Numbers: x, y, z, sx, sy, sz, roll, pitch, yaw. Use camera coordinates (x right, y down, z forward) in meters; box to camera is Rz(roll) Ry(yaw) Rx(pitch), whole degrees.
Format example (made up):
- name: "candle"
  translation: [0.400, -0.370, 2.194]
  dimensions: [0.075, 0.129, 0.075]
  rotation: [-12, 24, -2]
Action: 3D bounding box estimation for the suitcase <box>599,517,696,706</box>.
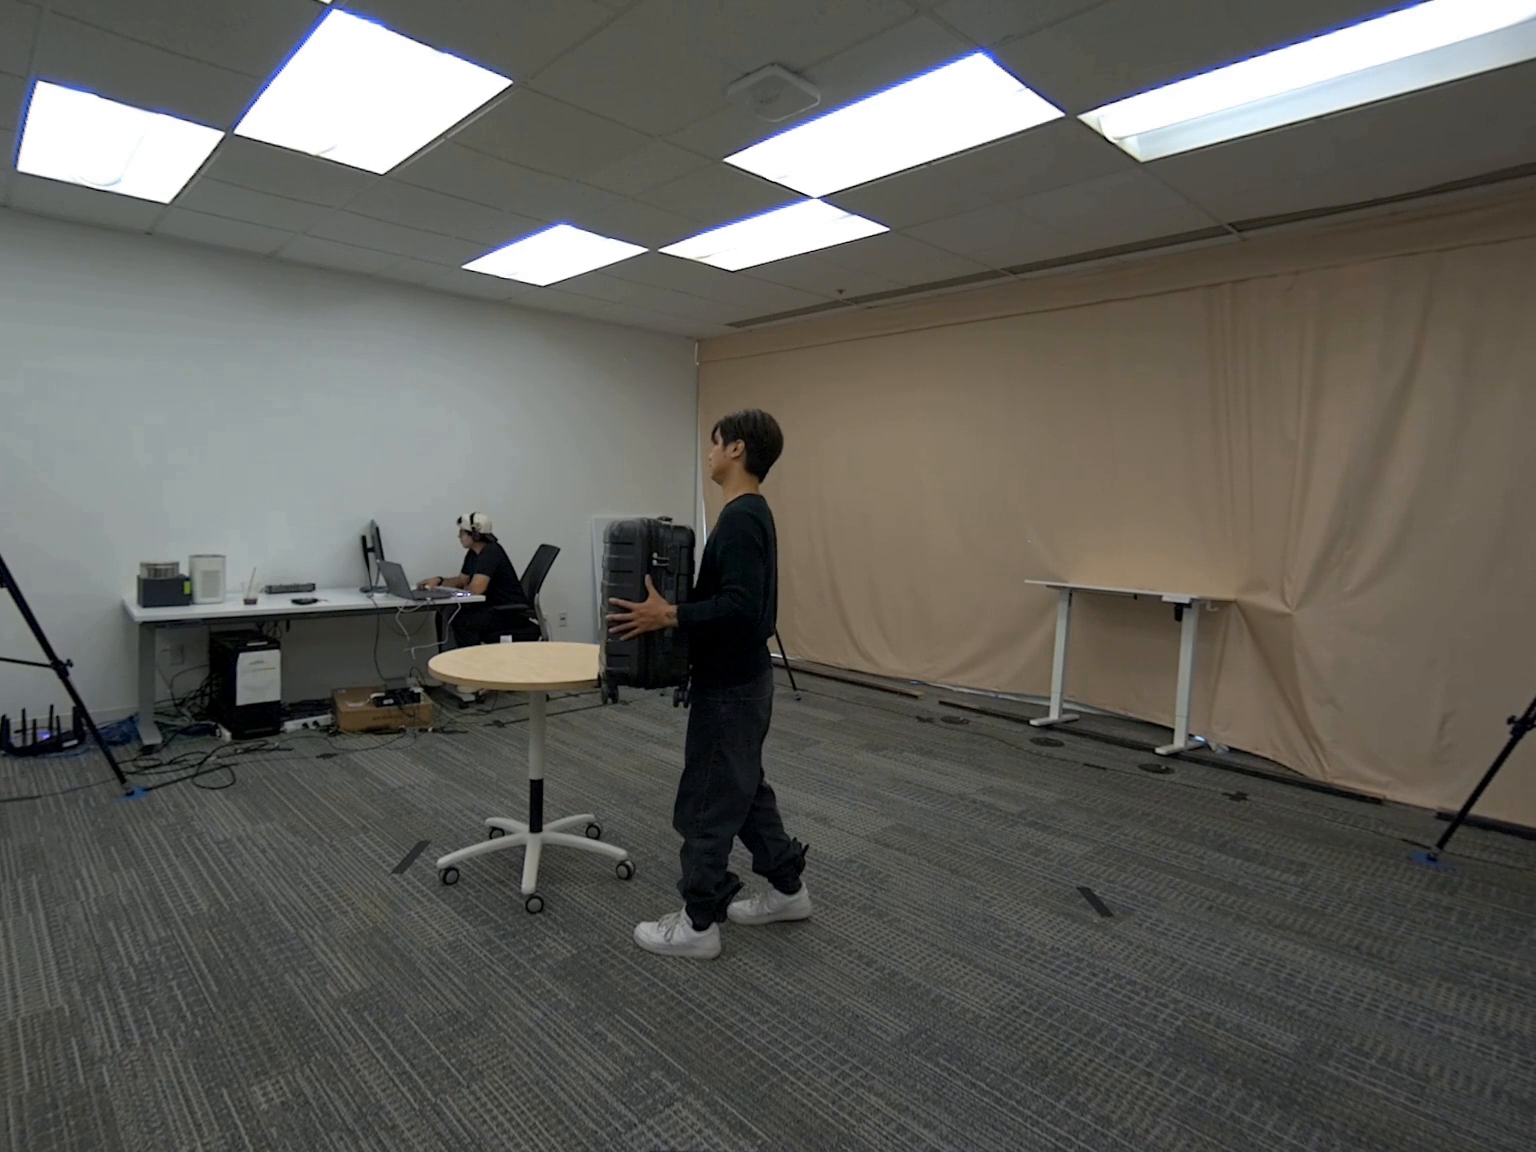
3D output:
- name: "suitcase"
  translation: [-0.378, 0.089, 2.586]
  dimensions: [0.245, 0.549, 0.380]
  rotation: [3, 1, -14]
